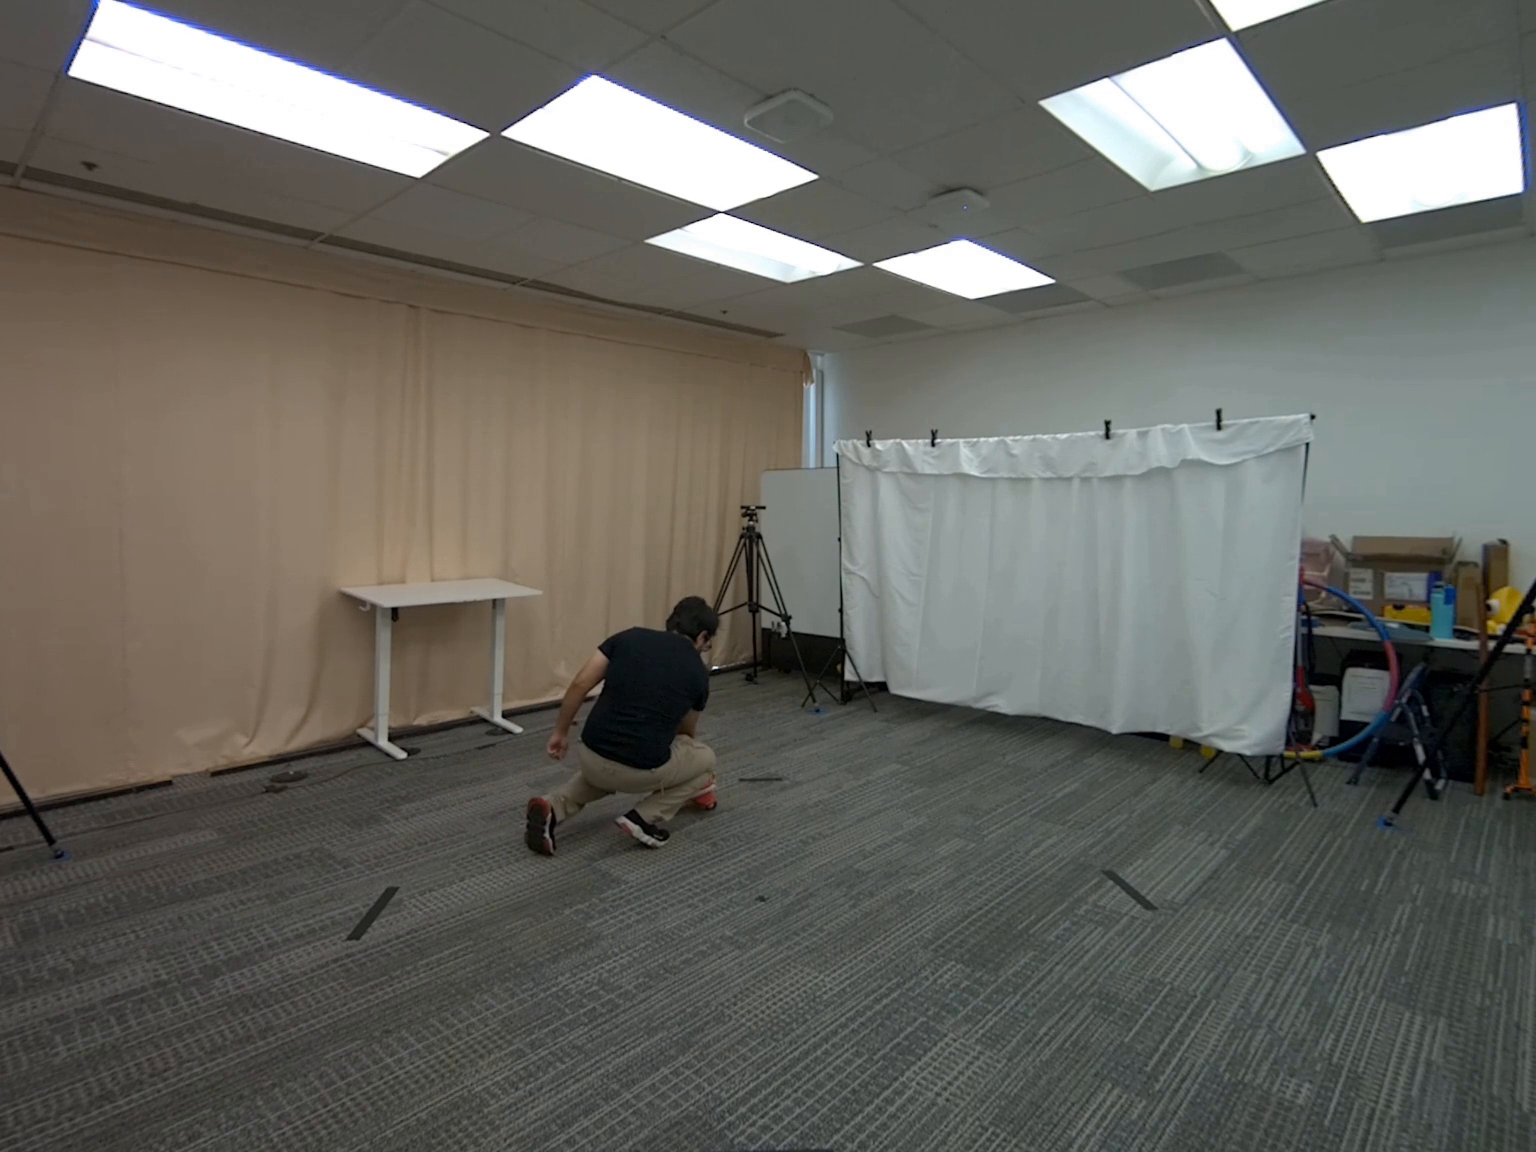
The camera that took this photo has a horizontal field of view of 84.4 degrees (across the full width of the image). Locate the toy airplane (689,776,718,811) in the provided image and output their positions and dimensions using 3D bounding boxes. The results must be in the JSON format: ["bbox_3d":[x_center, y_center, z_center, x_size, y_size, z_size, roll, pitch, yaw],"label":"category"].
[{"bbox_3d":[-0.347,1.000,3.866,0.259,0.156,0.251,3,4,38],"label":"toy airplane"}]
